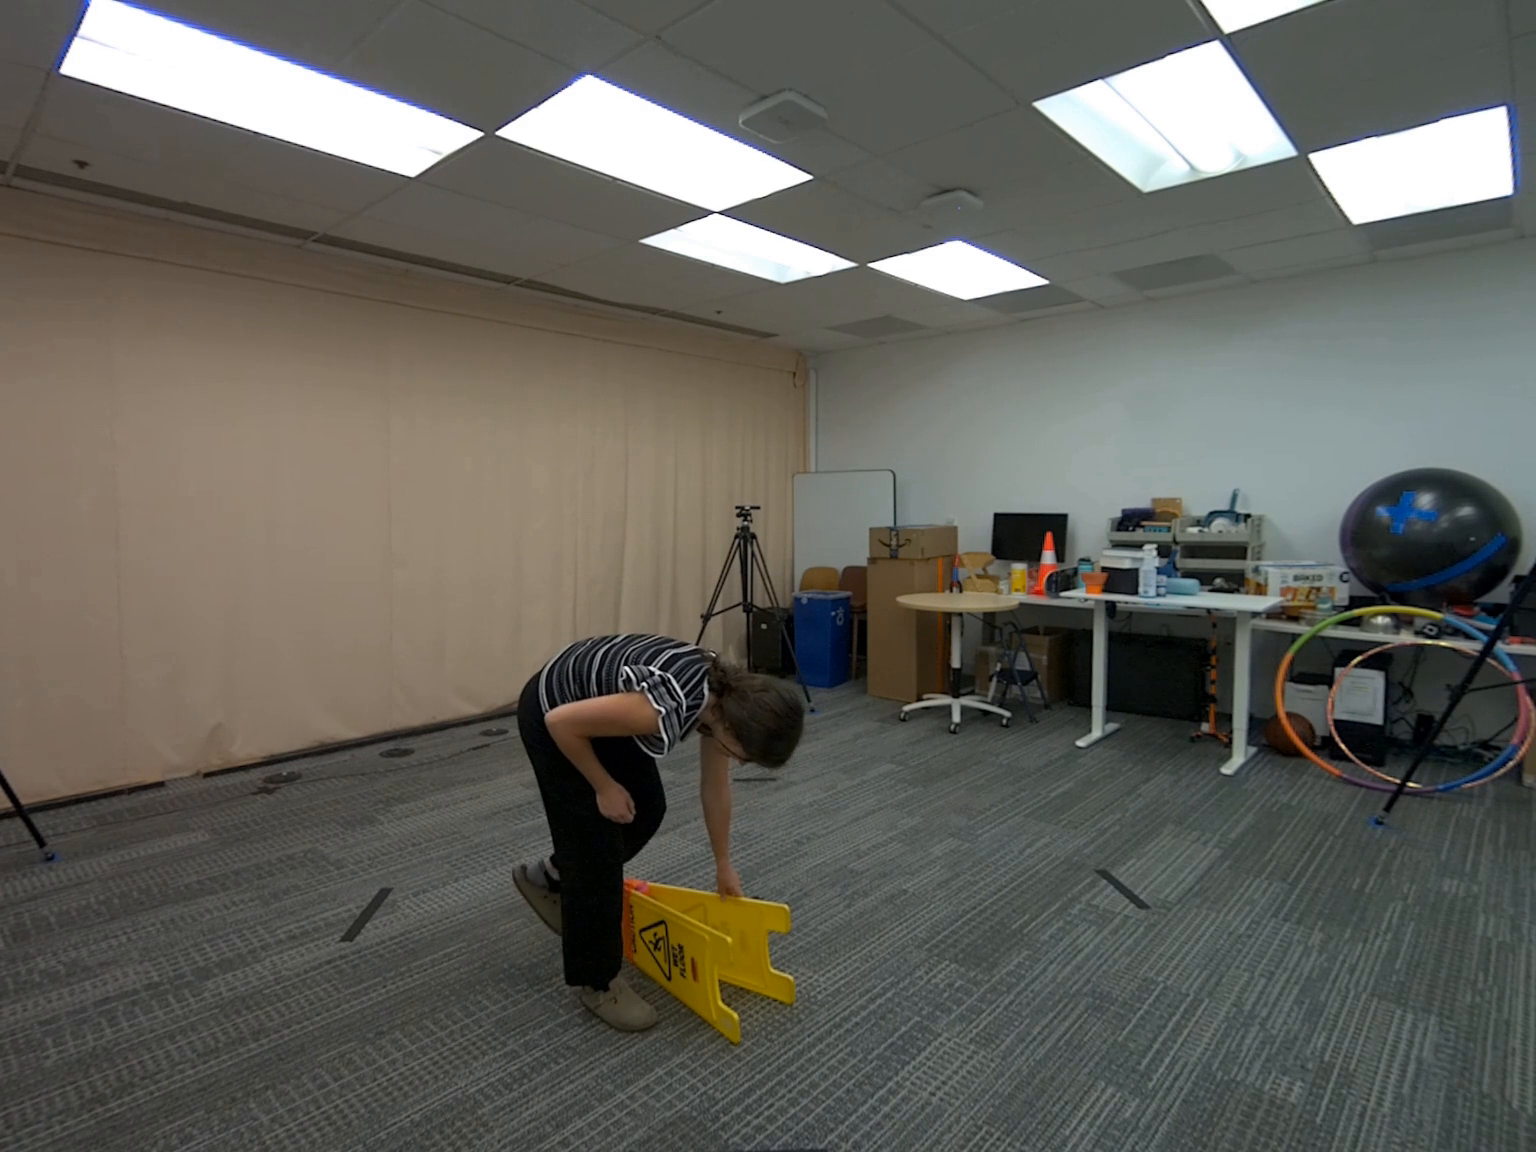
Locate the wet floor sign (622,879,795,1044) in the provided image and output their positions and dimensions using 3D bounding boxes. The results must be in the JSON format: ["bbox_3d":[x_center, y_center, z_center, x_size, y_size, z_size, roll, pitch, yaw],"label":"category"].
[{"bbox_3d":[-0.264,1.065,2.468,0.667,0.282,0.281,0,4,40],"label":"wet floor sign"}]
